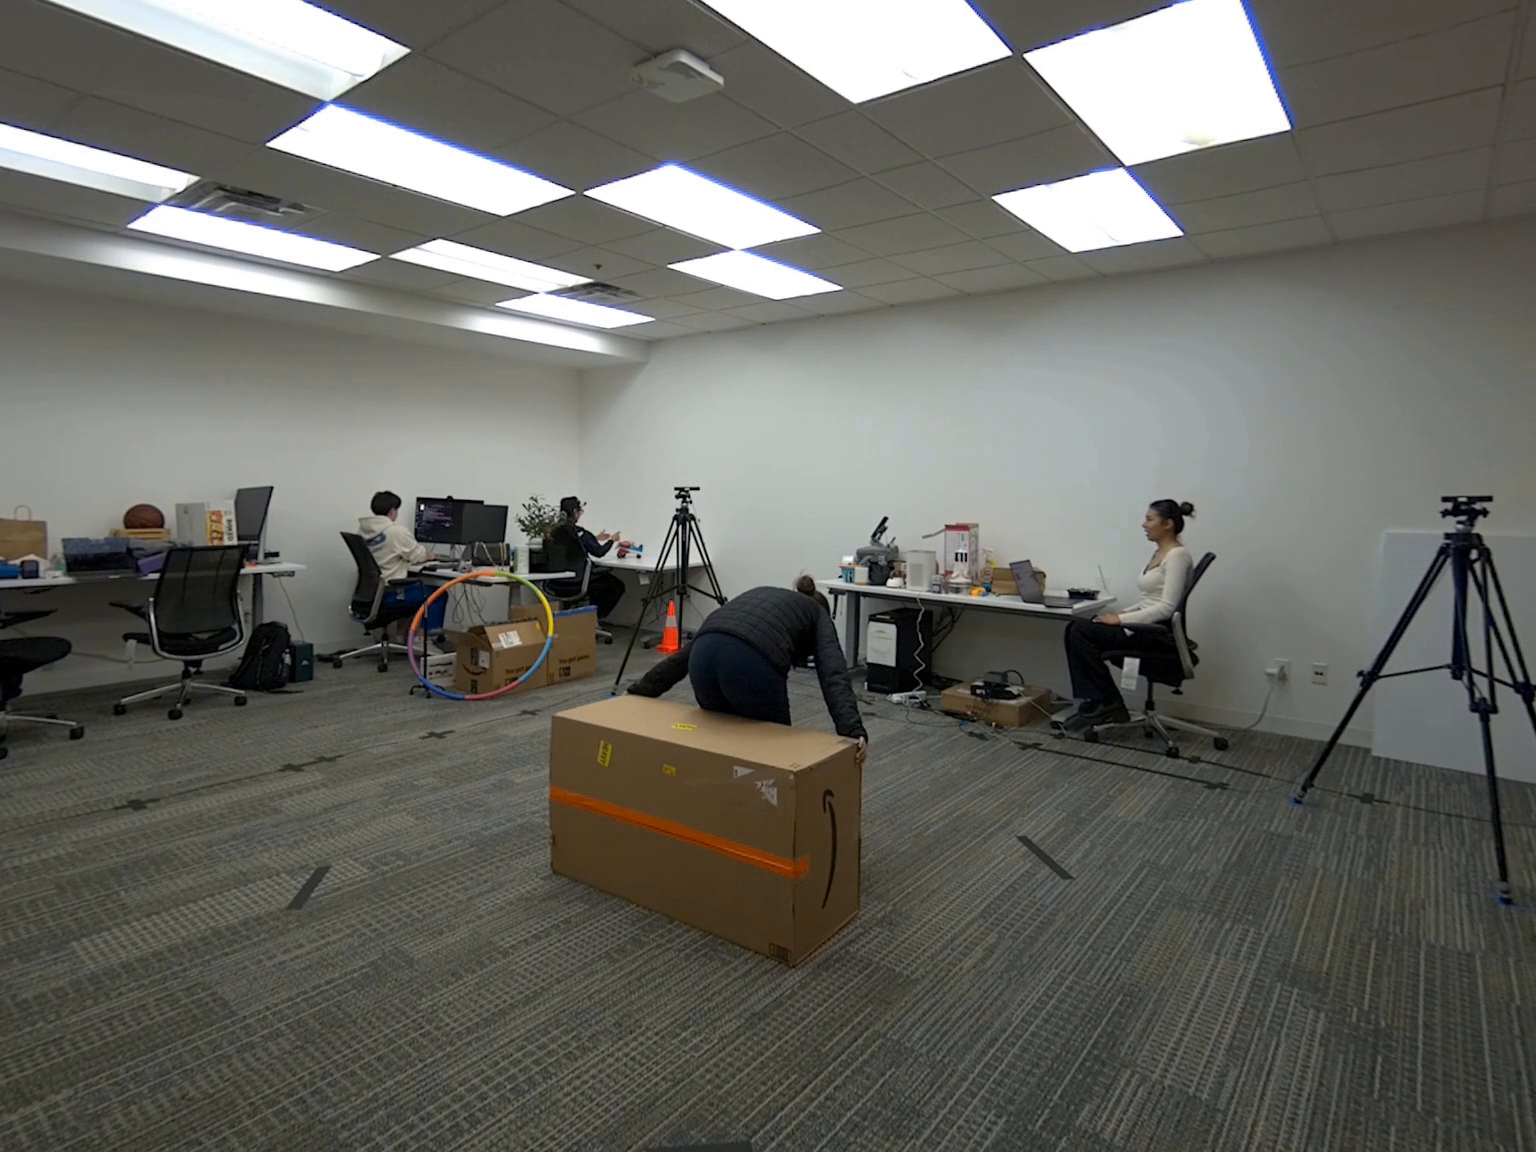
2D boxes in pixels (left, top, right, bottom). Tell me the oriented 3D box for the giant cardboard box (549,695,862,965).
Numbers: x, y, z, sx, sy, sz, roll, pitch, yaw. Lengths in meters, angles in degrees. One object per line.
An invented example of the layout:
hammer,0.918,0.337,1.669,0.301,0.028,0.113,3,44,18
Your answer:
giant cardboard box,-0.229,0.796,2.929,1.059,0.576,0.414,4,4,36
